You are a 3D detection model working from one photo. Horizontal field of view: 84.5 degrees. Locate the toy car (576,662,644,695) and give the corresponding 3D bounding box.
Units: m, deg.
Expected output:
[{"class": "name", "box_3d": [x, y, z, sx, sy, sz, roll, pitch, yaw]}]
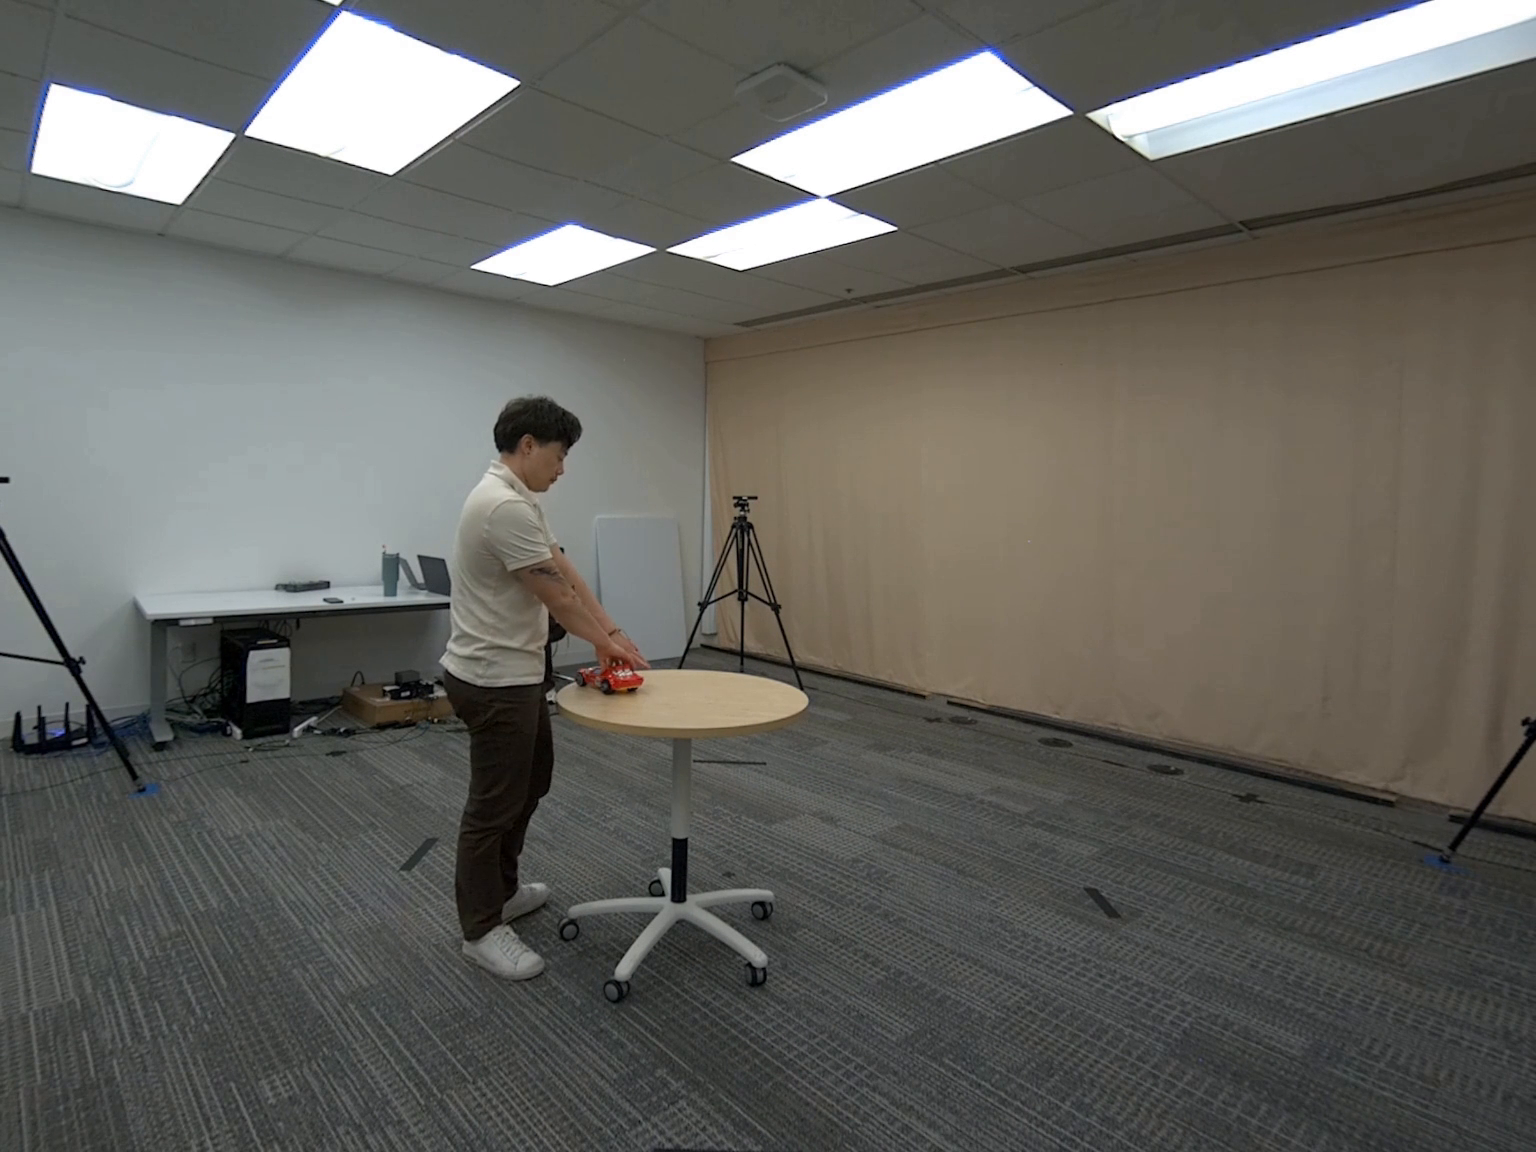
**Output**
[{"class": "toy car", "box_3d": [-0.492, 0.328, 2.614, 0.127, 0.083, 0.260, -3, -3, -44]}]
